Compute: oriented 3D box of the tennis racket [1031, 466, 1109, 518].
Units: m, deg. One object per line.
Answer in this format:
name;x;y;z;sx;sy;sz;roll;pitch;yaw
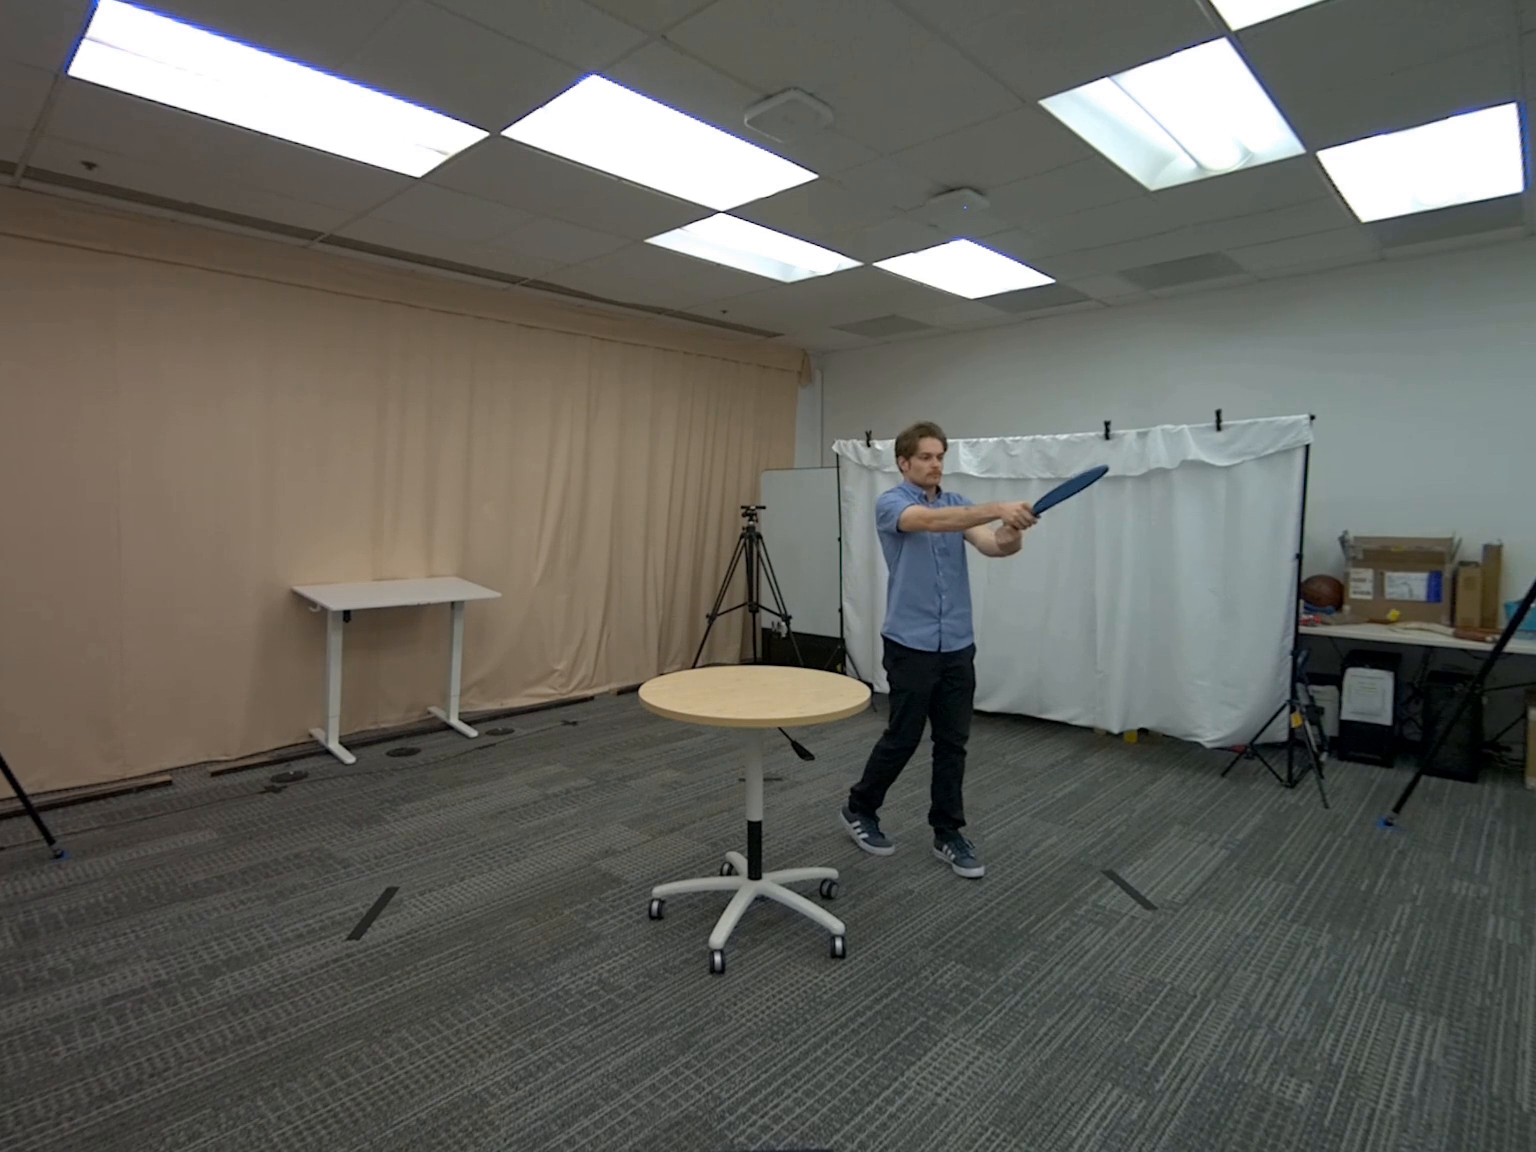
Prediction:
tennis racket;0.888;-0.229;2.689;0.209;0.032;0.435;-15;-19;-31
